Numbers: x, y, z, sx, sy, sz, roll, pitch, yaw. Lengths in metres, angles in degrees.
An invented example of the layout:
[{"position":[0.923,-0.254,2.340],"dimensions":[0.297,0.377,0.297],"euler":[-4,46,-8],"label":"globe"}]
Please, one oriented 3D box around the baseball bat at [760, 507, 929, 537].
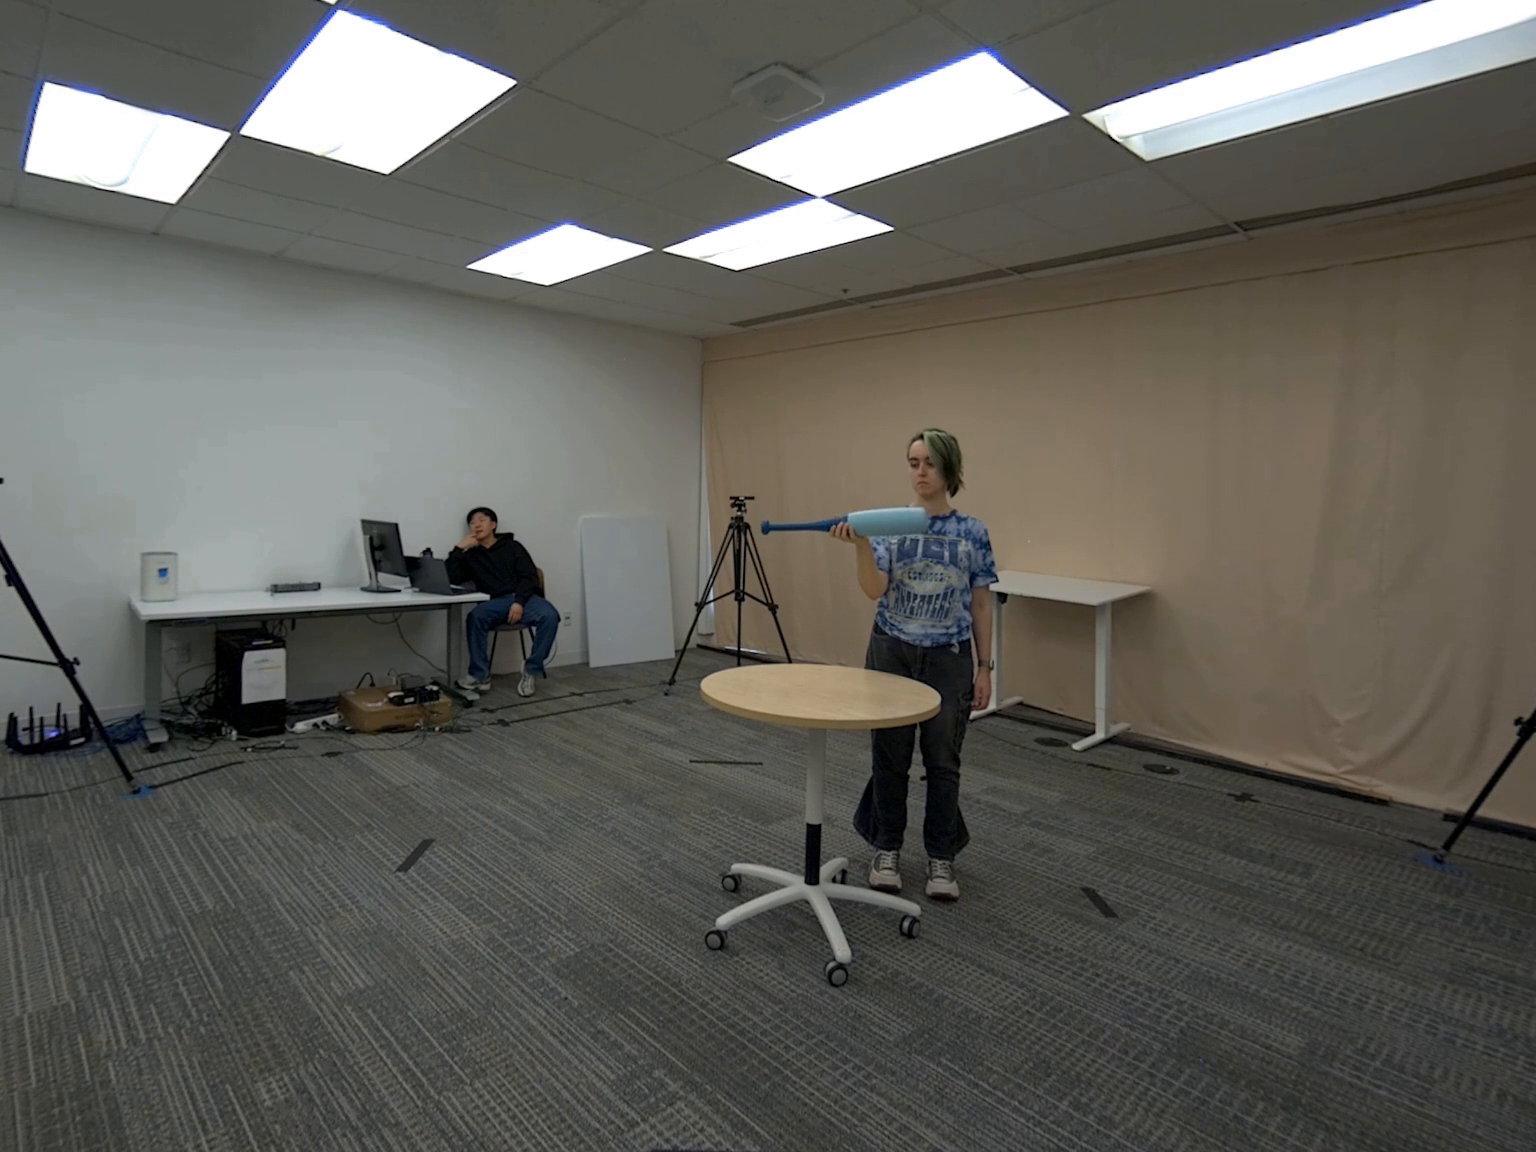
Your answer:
[{"position":[0.247,-0.166,2.760],"dimensions":[0.548,0.089,0.088],"euler":[-2,4,13],"label":"baseball bat"}]
